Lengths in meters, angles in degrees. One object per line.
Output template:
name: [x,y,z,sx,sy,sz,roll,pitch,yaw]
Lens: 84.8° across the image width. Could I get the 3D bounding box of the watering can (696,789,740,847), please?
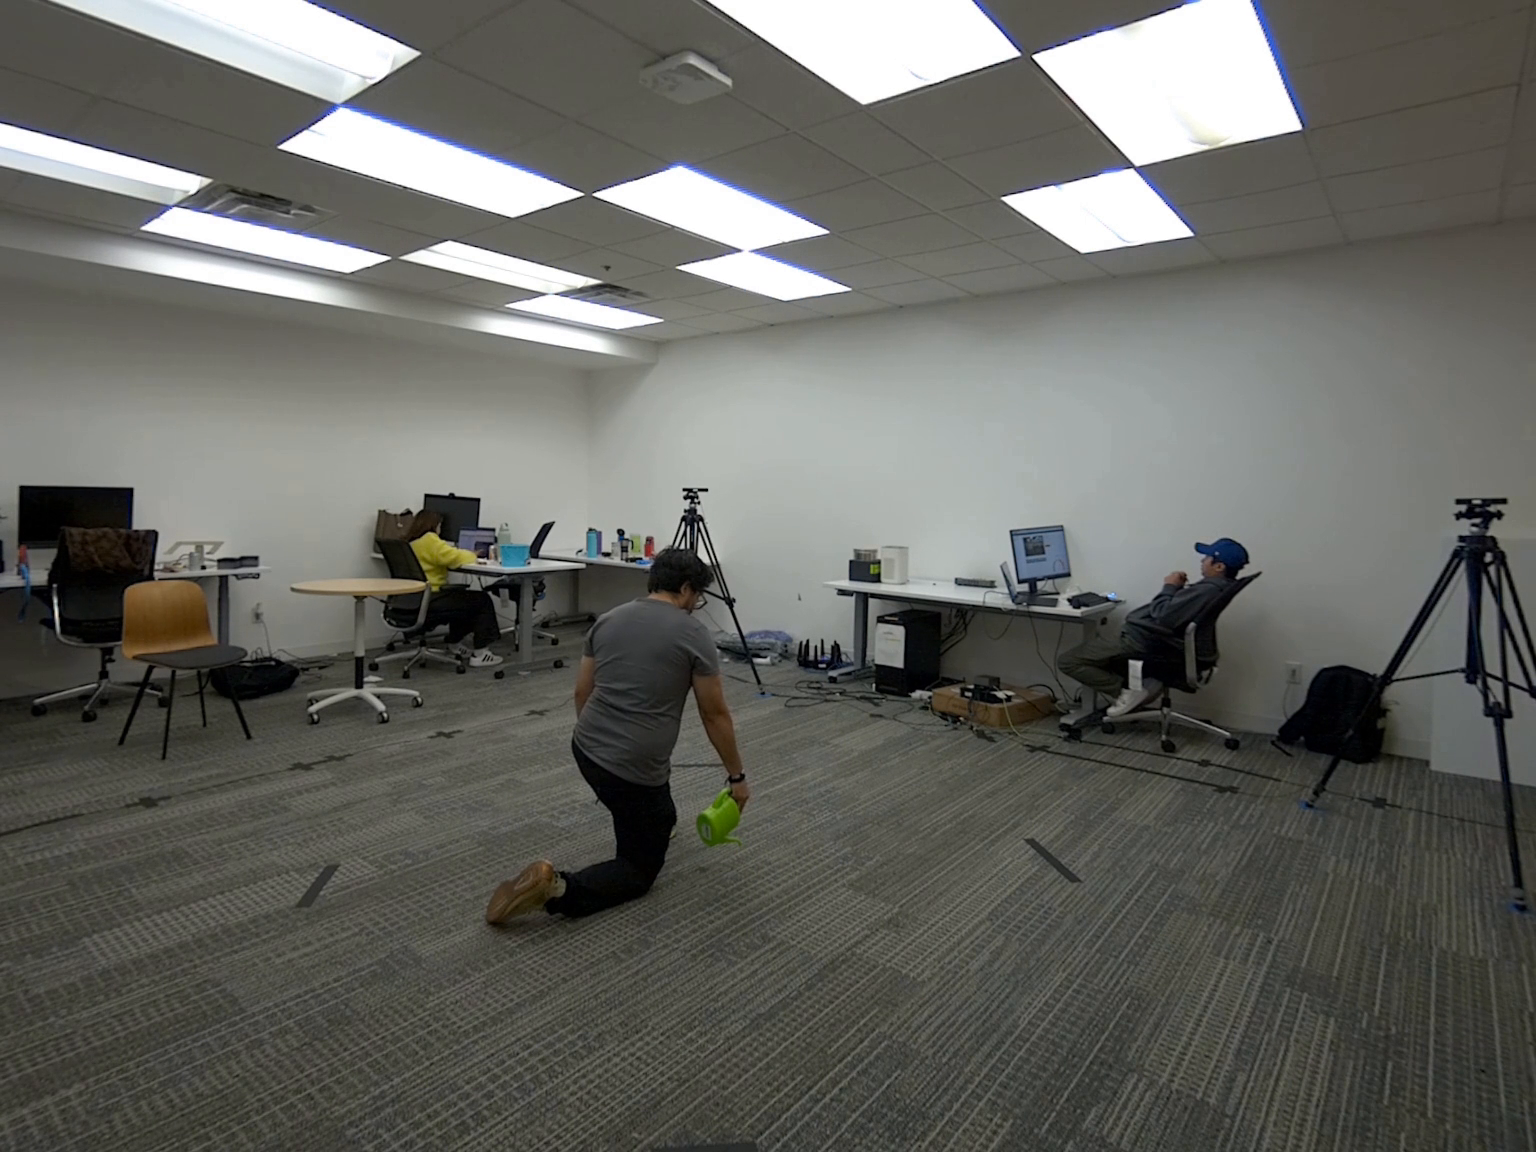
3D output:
watering can: [-0.164,0.889,3.003,0.101,0.274,0.174,-4,16,42]
